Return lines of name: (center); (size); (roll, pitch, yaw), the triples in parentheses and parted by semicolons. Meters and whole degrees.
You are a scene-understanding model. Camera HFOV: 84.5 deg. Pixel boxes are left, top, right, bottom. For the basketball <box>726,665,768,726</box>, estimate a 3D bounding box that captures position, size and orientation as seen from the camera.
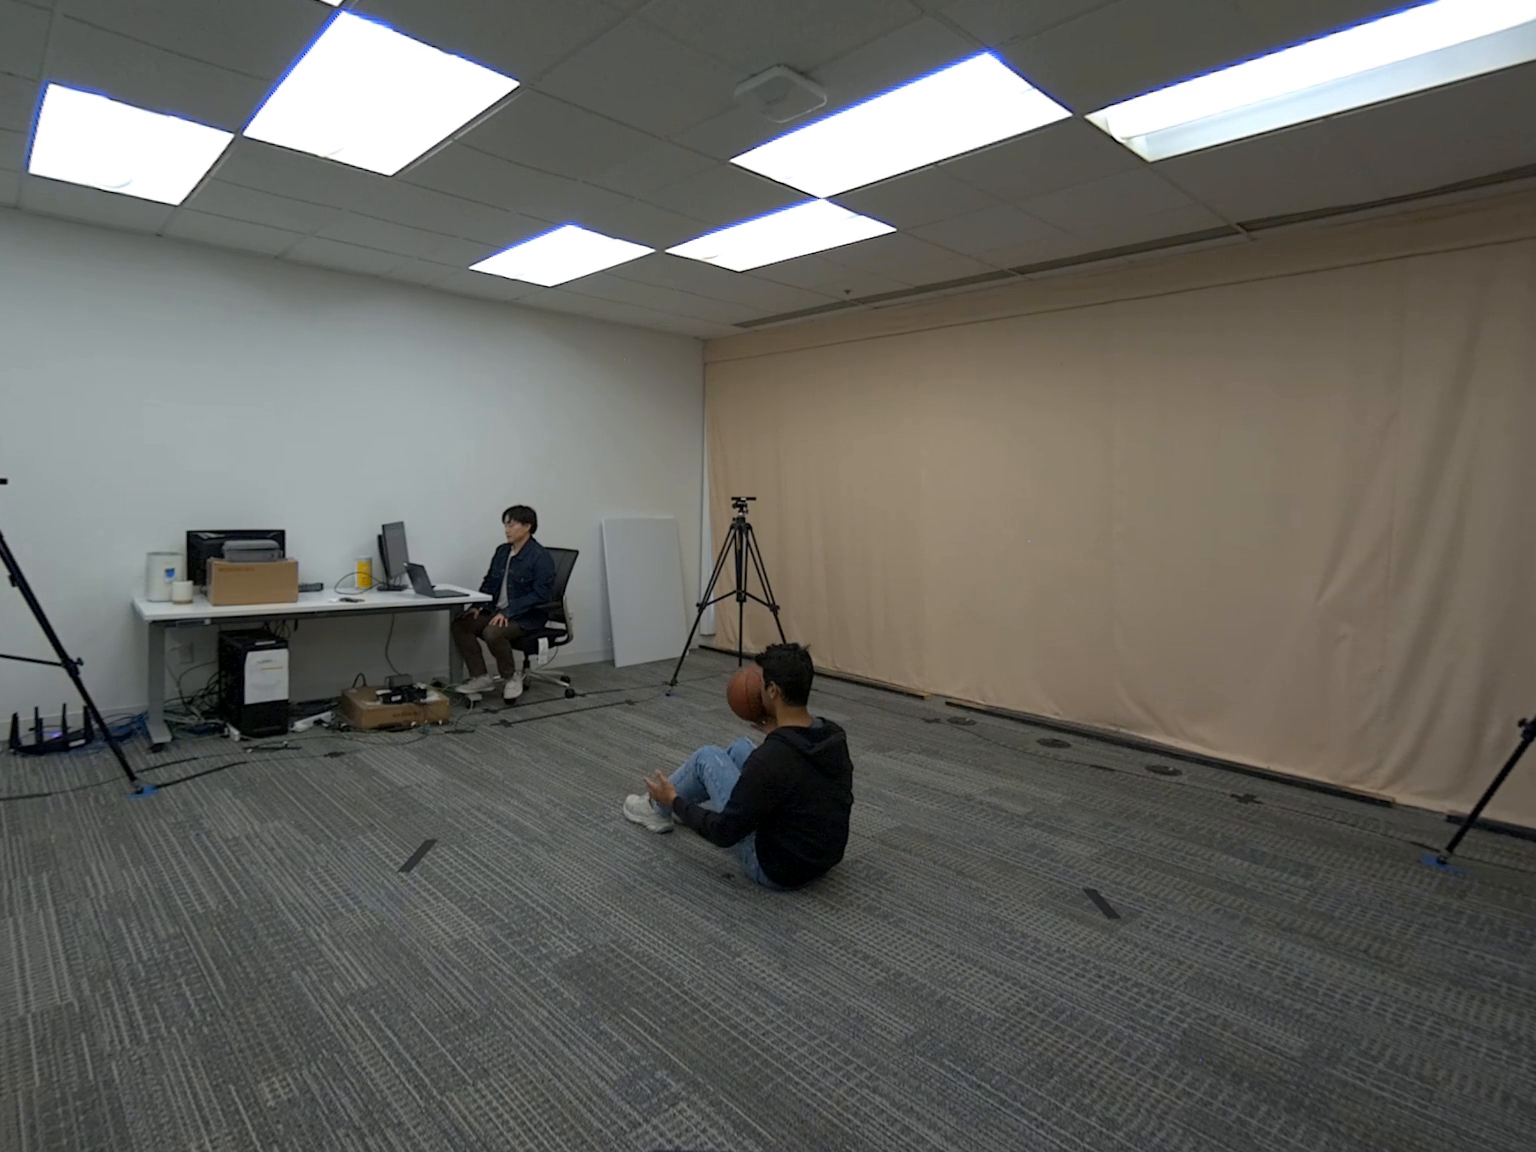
basketball: (-0.077, 0.502, 3.487); (0.236, 0.235, 0.237); (1, 4, -1)
